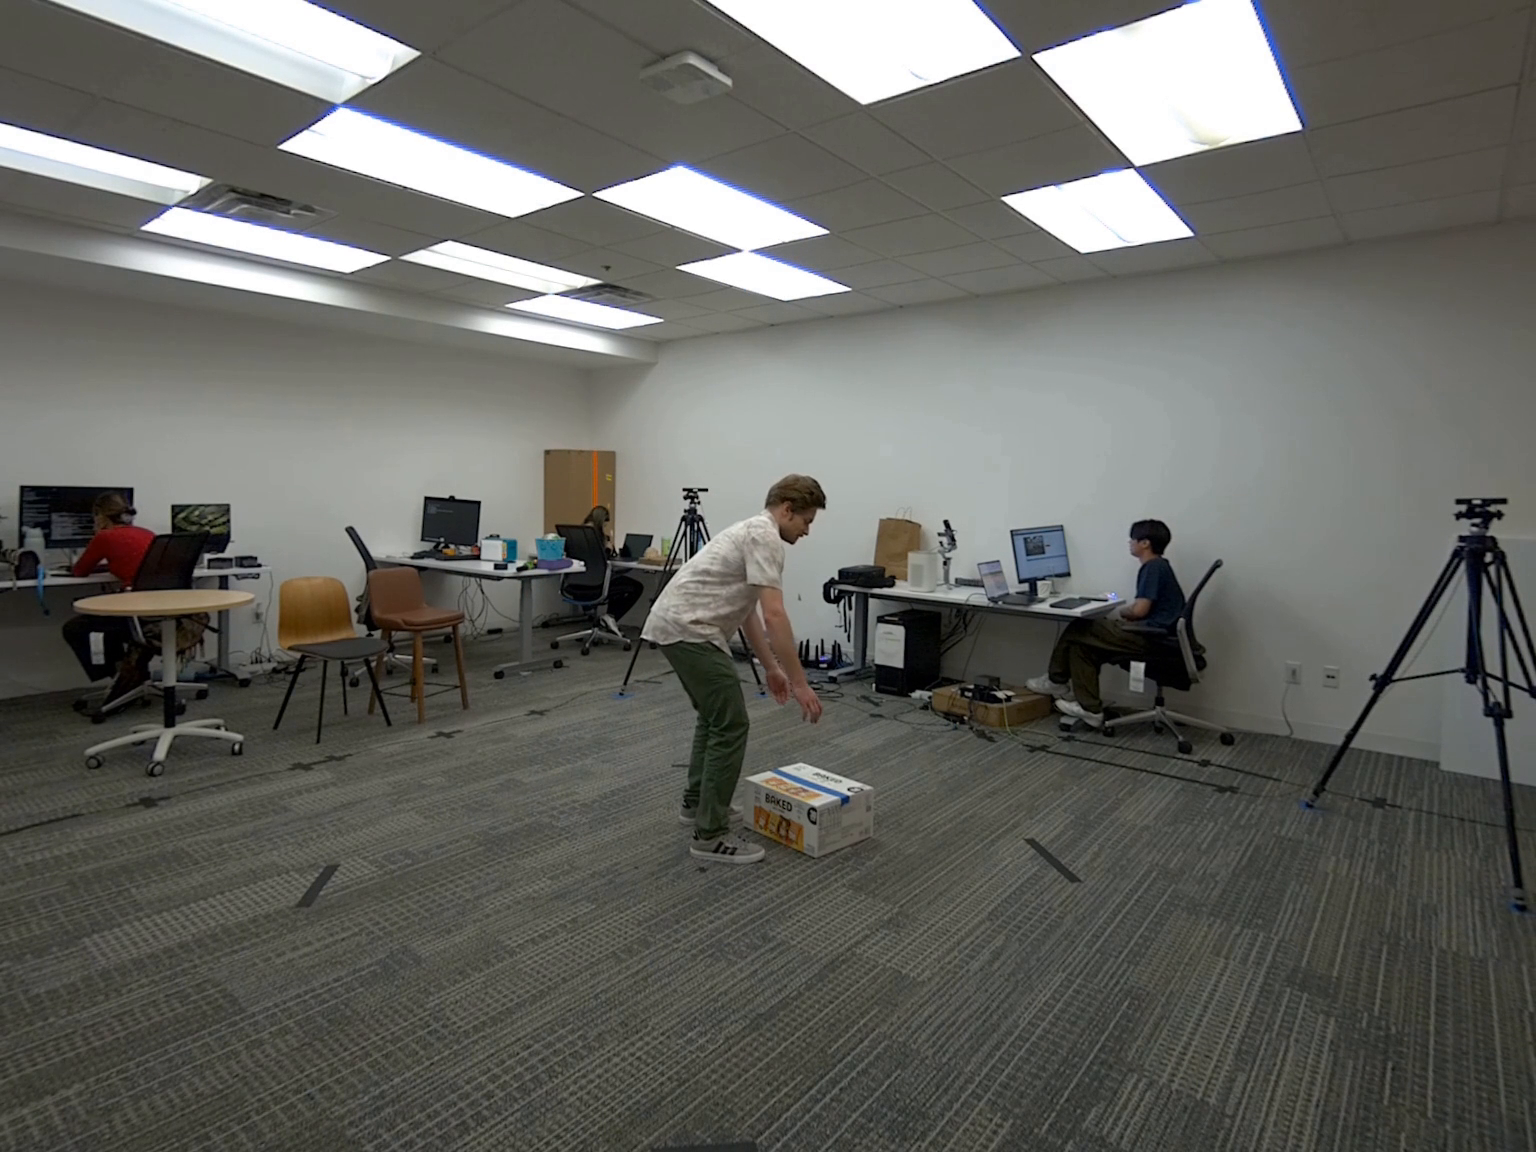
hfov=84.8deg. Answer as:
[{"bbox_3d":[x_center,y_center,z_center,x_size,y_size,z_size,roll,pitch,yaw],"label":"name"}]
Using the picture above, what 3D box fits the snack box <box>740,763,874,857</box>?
[{"bbox_3d":[0.154,0.941,3.468,0.330,0.205,0.419,-4,7,-43],"label":"snack box"}]
